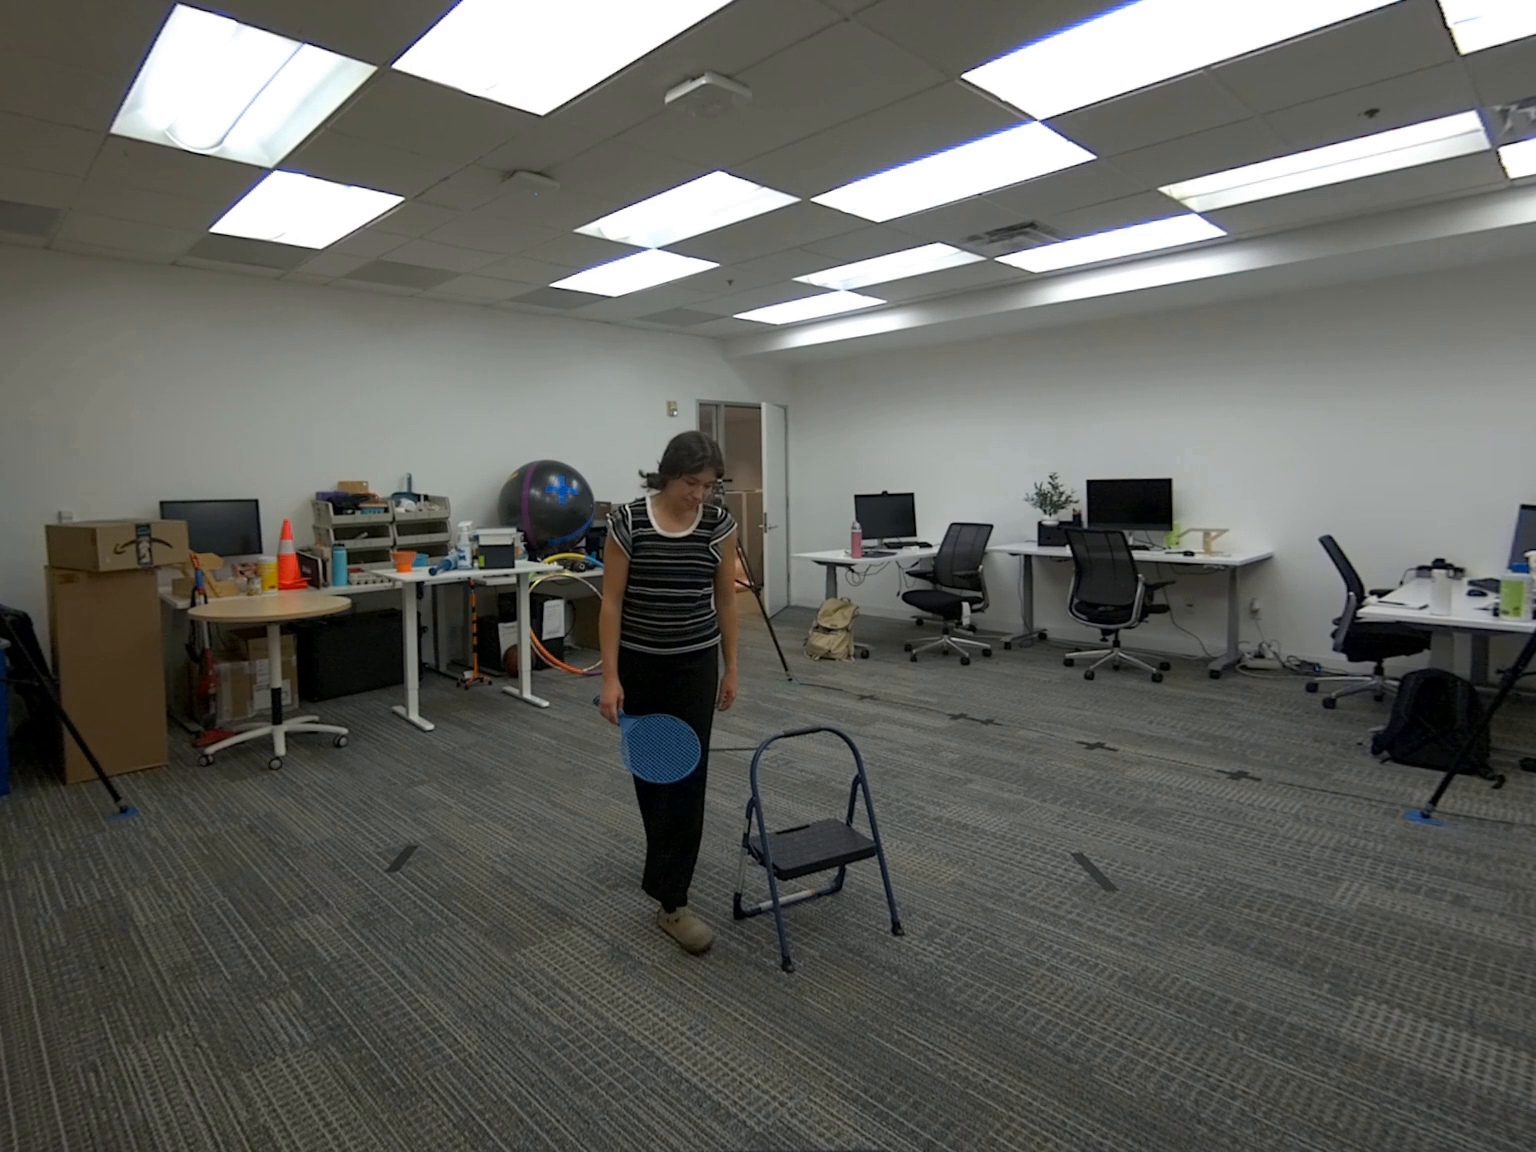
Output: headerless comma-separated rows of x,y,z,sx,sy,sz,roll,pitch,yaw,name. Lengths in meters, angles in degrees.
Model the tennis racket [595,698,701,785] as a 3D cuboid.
-0.383,0.470,2.560,0.213,0.031,0.450,-39,47,-23,tennis racket
